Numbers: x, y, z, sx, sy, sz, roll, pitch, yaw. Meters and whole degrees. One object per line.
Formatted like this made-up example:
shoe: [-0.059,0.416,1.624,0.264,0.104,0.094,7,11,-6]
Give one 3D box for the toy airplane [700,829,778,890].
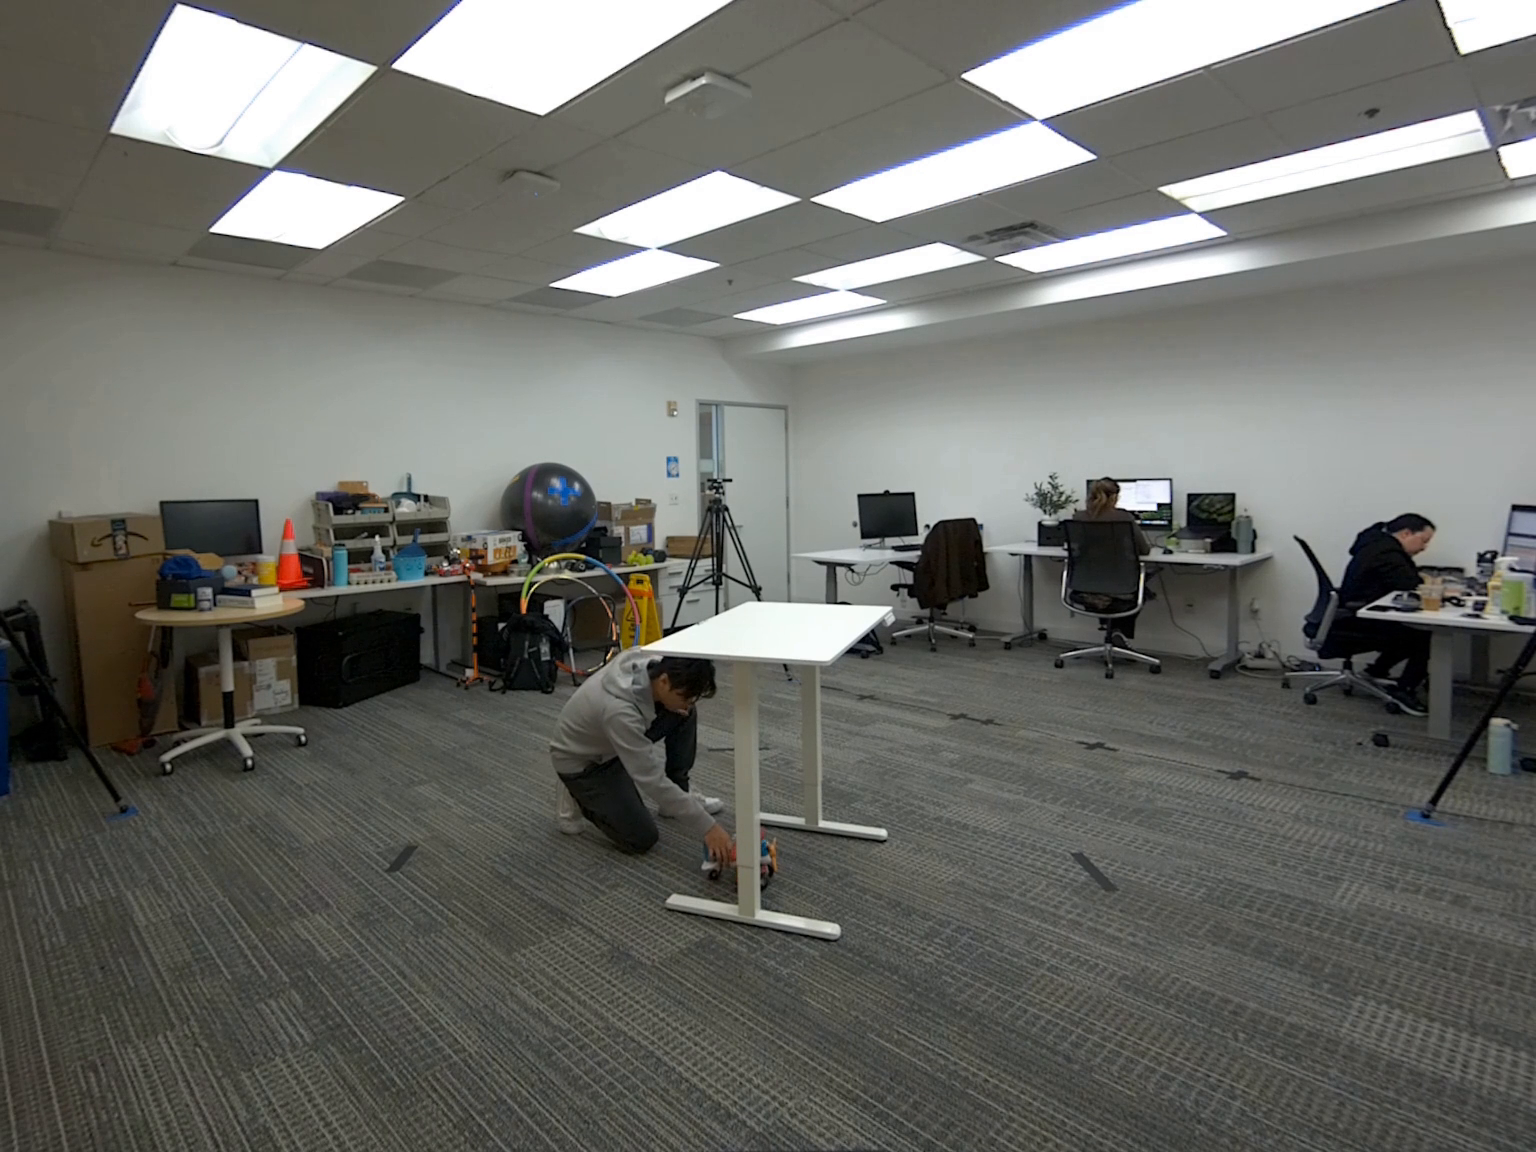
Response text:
toy airplane: [-0.096,0.992,2.958,0.256,0.156,0.255,-2,5,-15]
